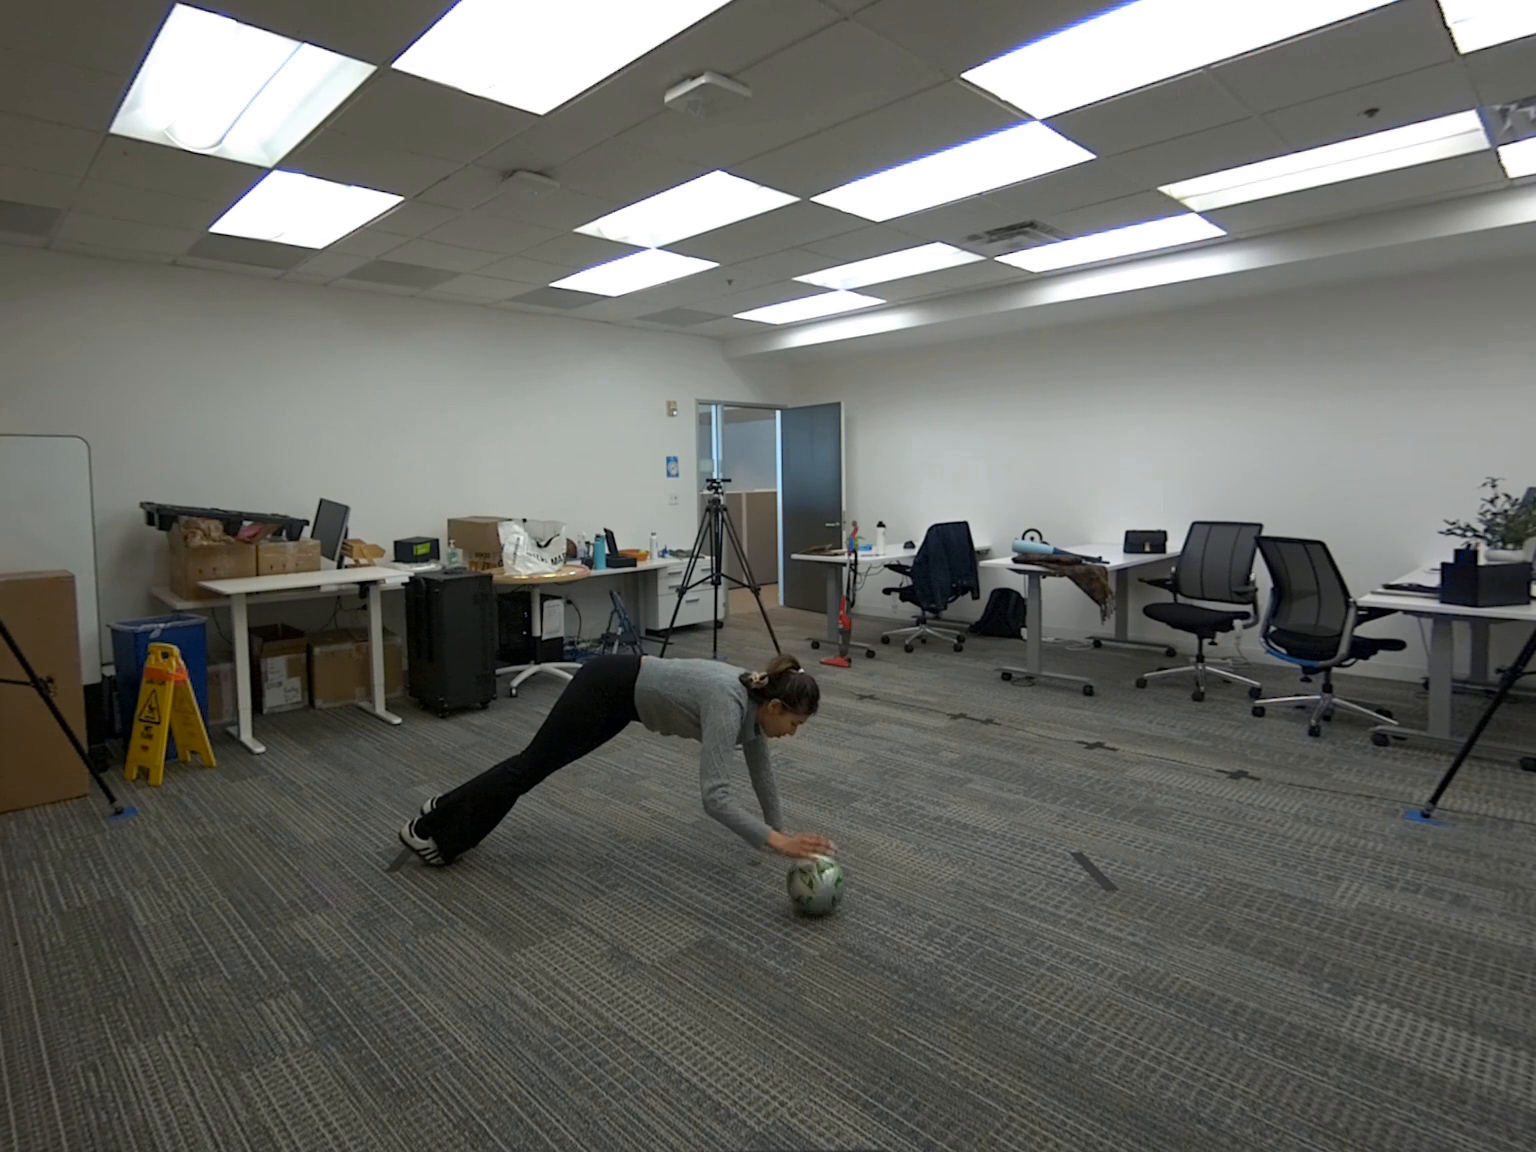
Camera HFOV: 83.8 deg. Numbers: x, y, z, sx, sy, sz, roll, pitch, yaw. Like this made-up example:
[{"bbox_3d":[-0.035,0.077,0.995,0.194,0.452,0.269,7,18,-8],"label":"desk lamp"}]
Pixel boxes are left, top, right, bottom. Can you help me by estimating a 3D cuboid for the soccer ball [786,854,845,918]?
[{"bbox_3d":[0.155,0.985,2.751,0.187,0.187,0.188,-1,5,-2],"label":"soccer ball"}]
